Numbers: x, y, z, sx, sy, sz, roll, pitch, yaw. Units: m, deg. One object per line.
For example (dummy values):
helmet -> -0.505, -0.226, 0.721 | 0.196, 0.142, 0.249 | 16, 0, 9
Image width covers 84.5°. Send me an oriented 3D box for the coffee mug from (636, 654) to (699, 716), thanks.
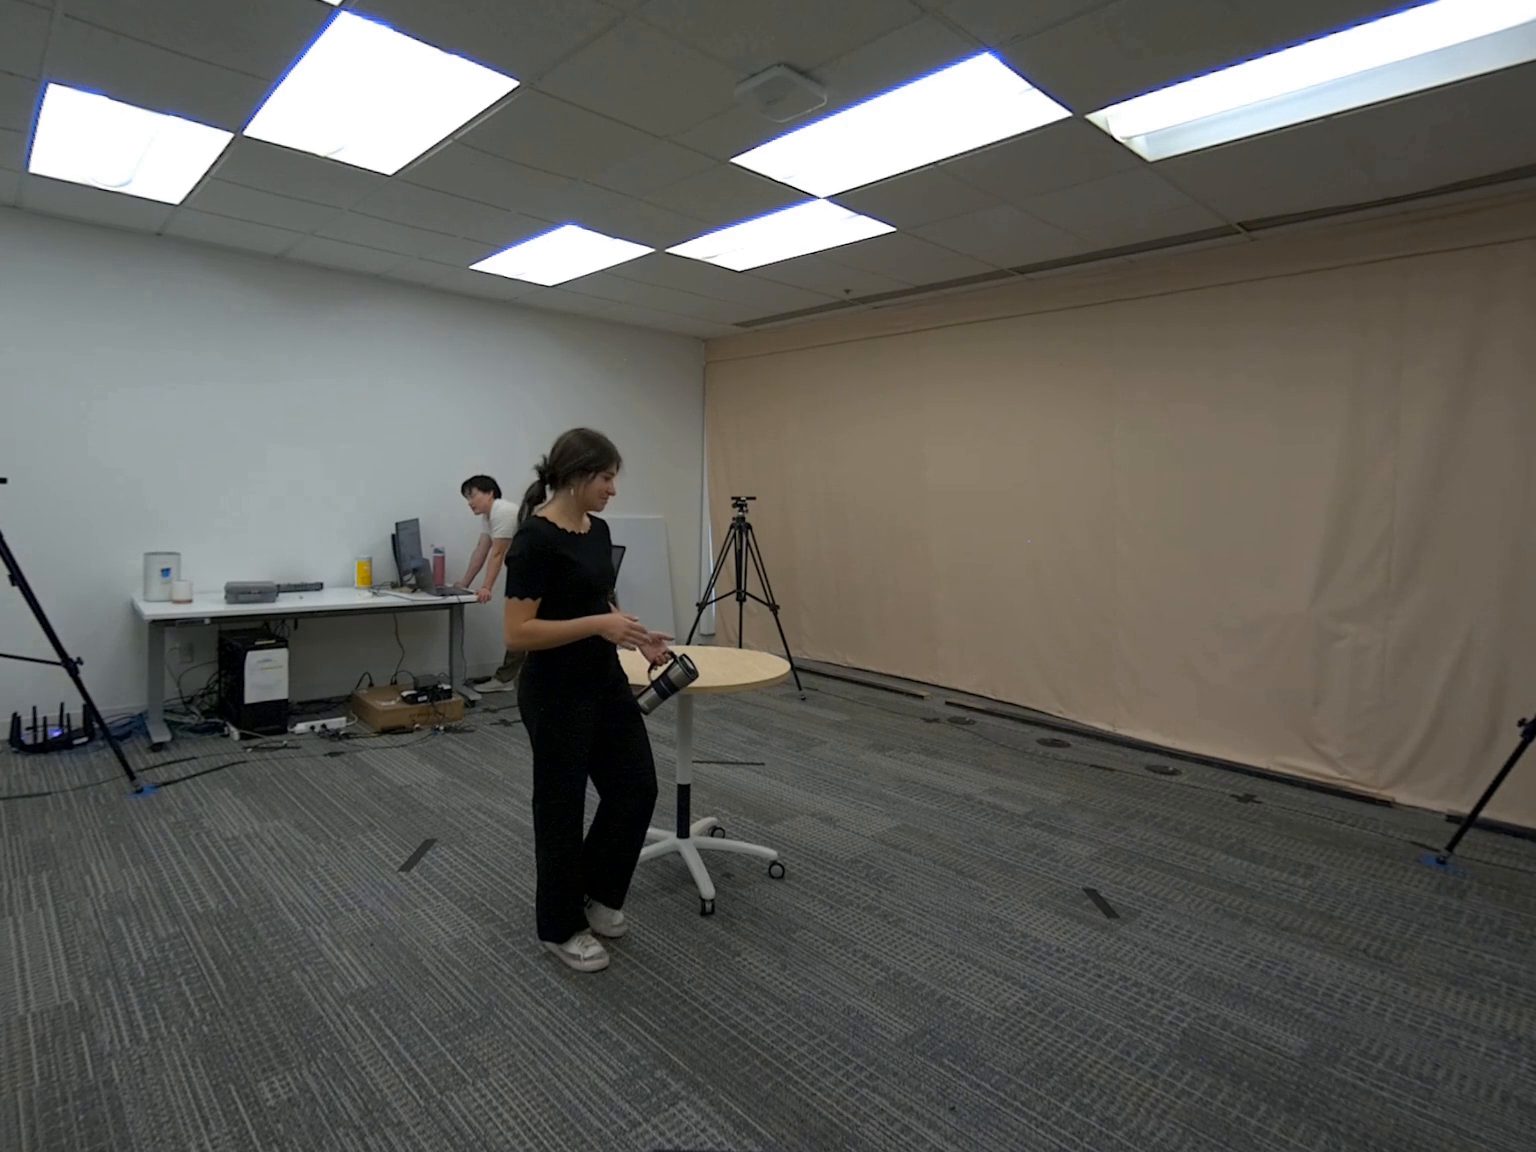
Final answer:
coffee mug -> -0.336, 0.309, 2.518 | 0.203, 0.119, 0.089 | -37, 20, 5
